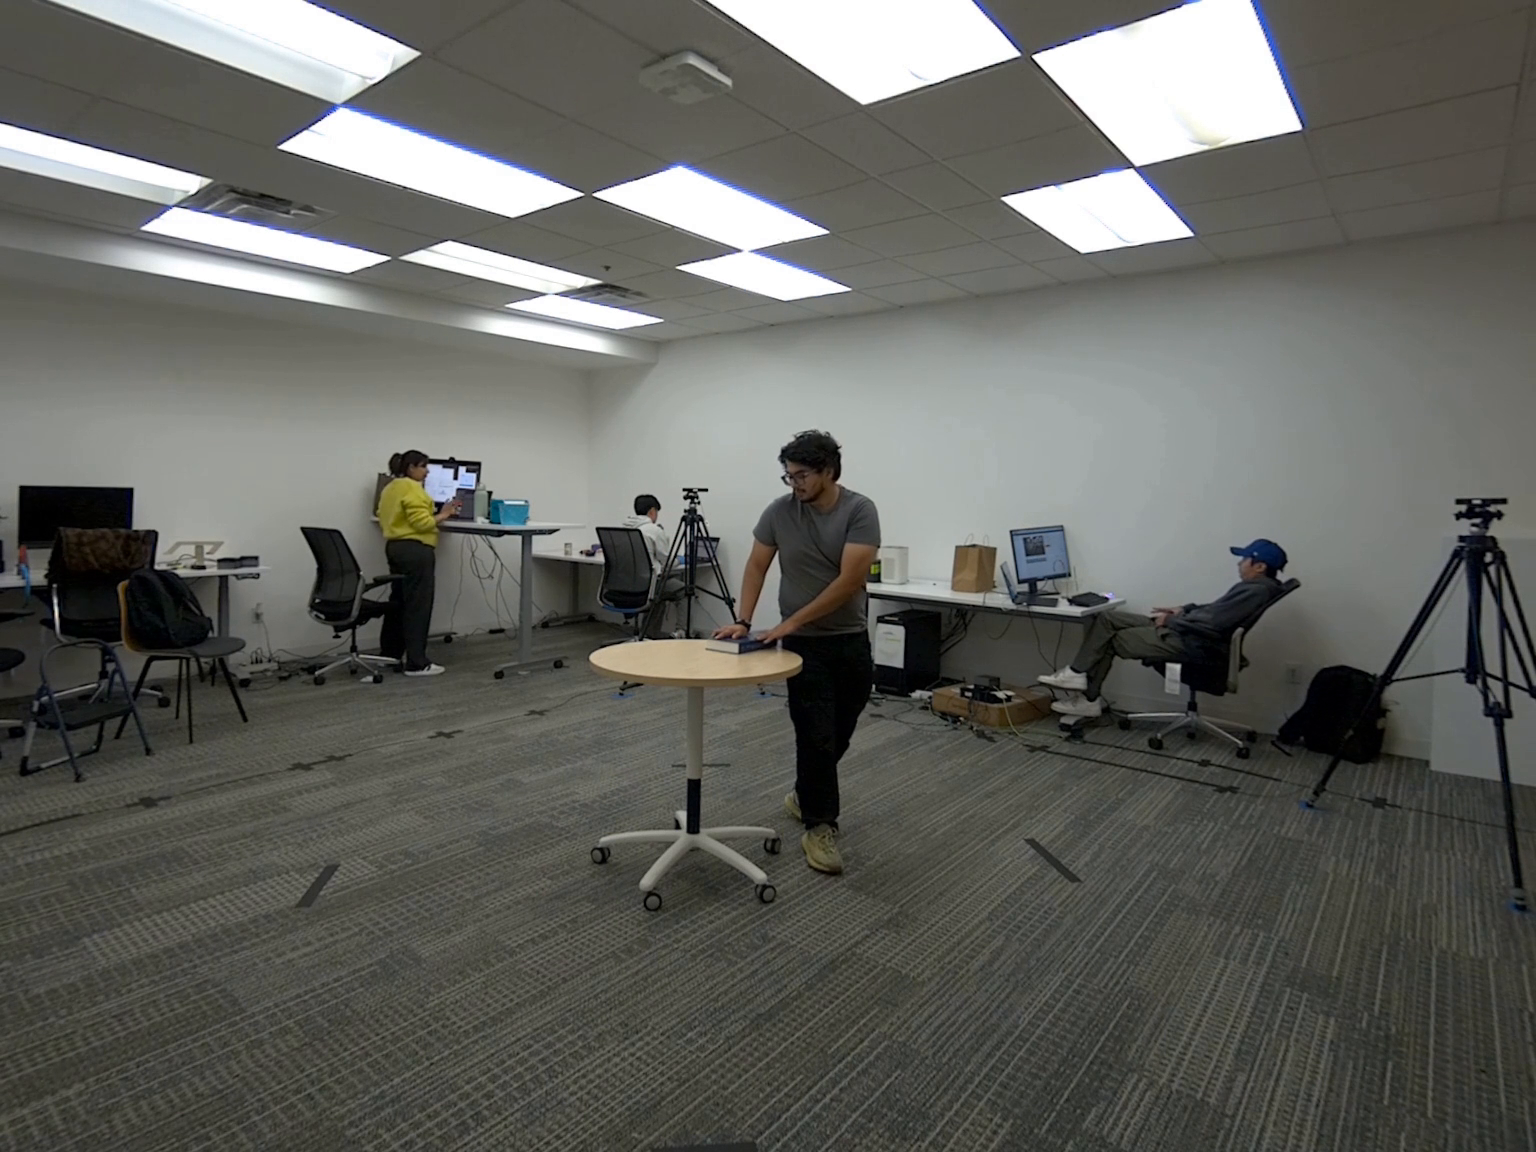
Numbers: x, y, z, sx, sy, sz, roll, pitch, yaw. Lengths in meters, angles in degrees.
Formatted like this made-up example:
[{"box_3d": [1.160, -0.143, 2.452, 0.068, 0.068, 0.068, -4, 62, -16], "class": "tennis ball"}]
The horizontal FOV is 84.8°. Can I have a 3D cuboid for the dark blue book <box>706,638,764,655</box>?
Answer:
[{"box_3d": [-0.119, 0.257, 3.270, 0.168, 0.045, 0.238, 3, 5, 31], "class": "dark blue book"}]
